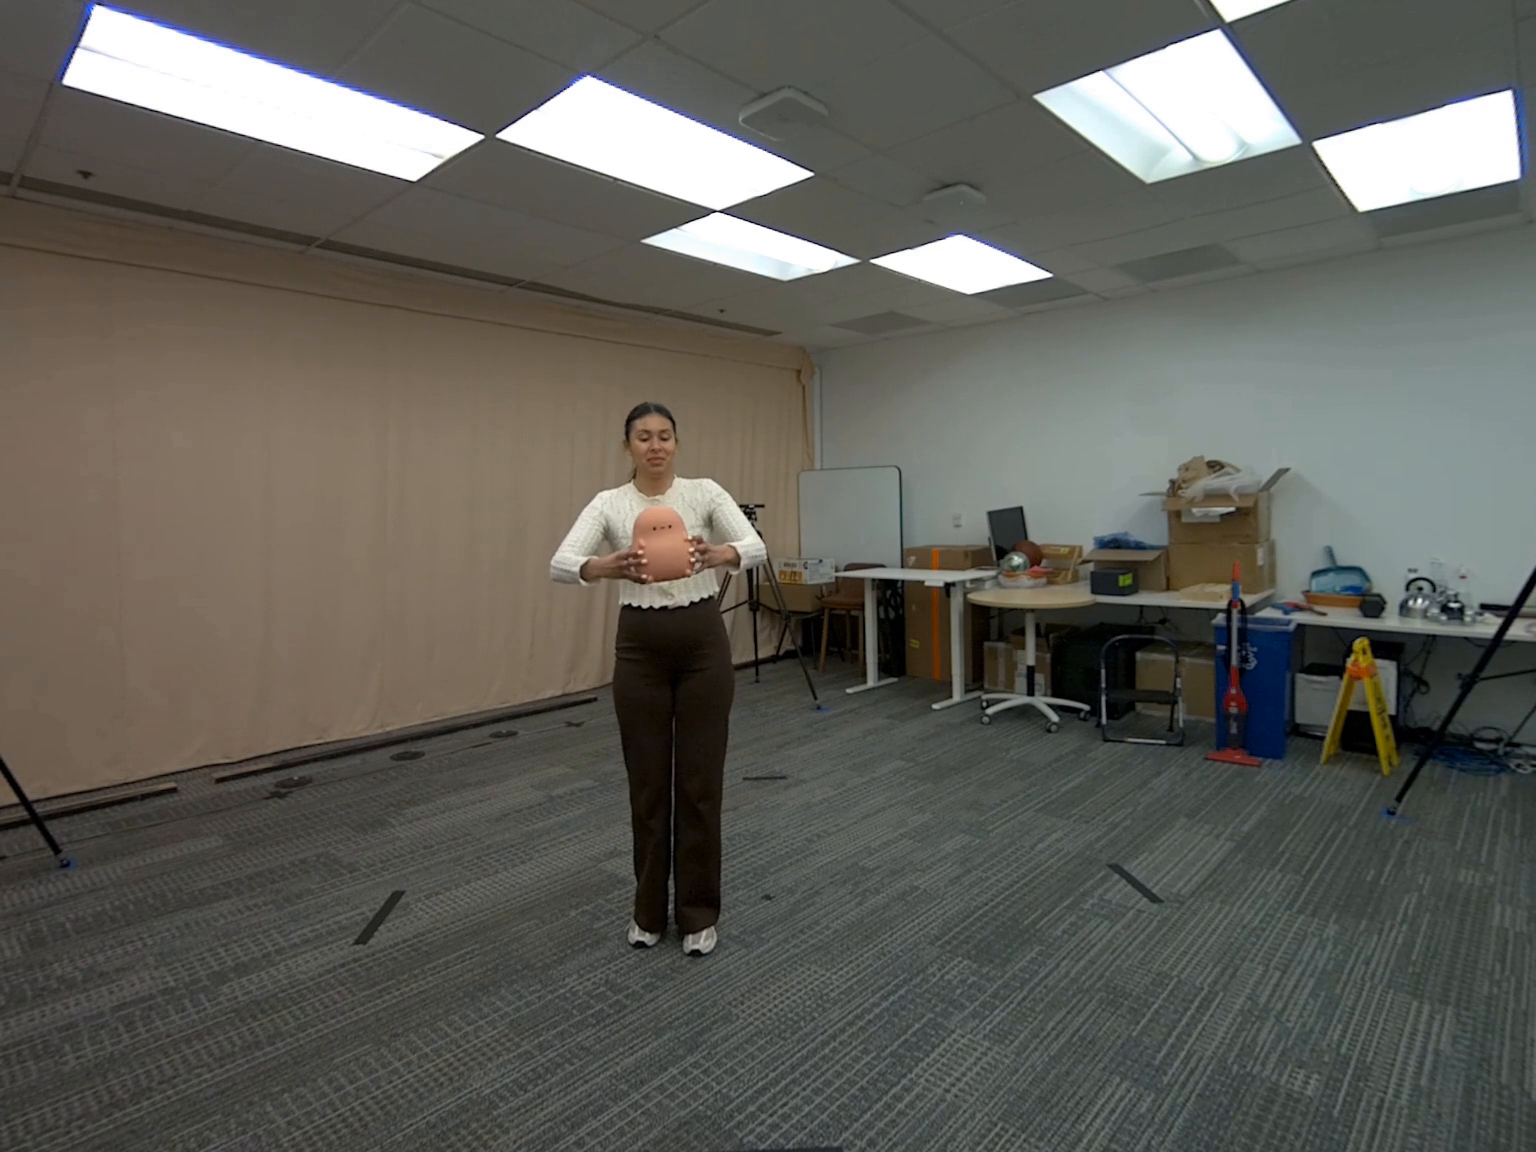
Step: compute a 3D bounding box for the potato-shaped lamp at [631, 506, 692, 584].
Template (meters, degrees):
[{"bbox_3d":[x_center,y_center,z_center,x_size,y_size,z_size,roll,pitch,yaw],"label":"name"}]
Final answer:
[{"bbox_3d":[-0.275,-0.082,2.214,0.164,0.197,0.173,-7,6,-7],"label":"potato-shaped lamp"}]
